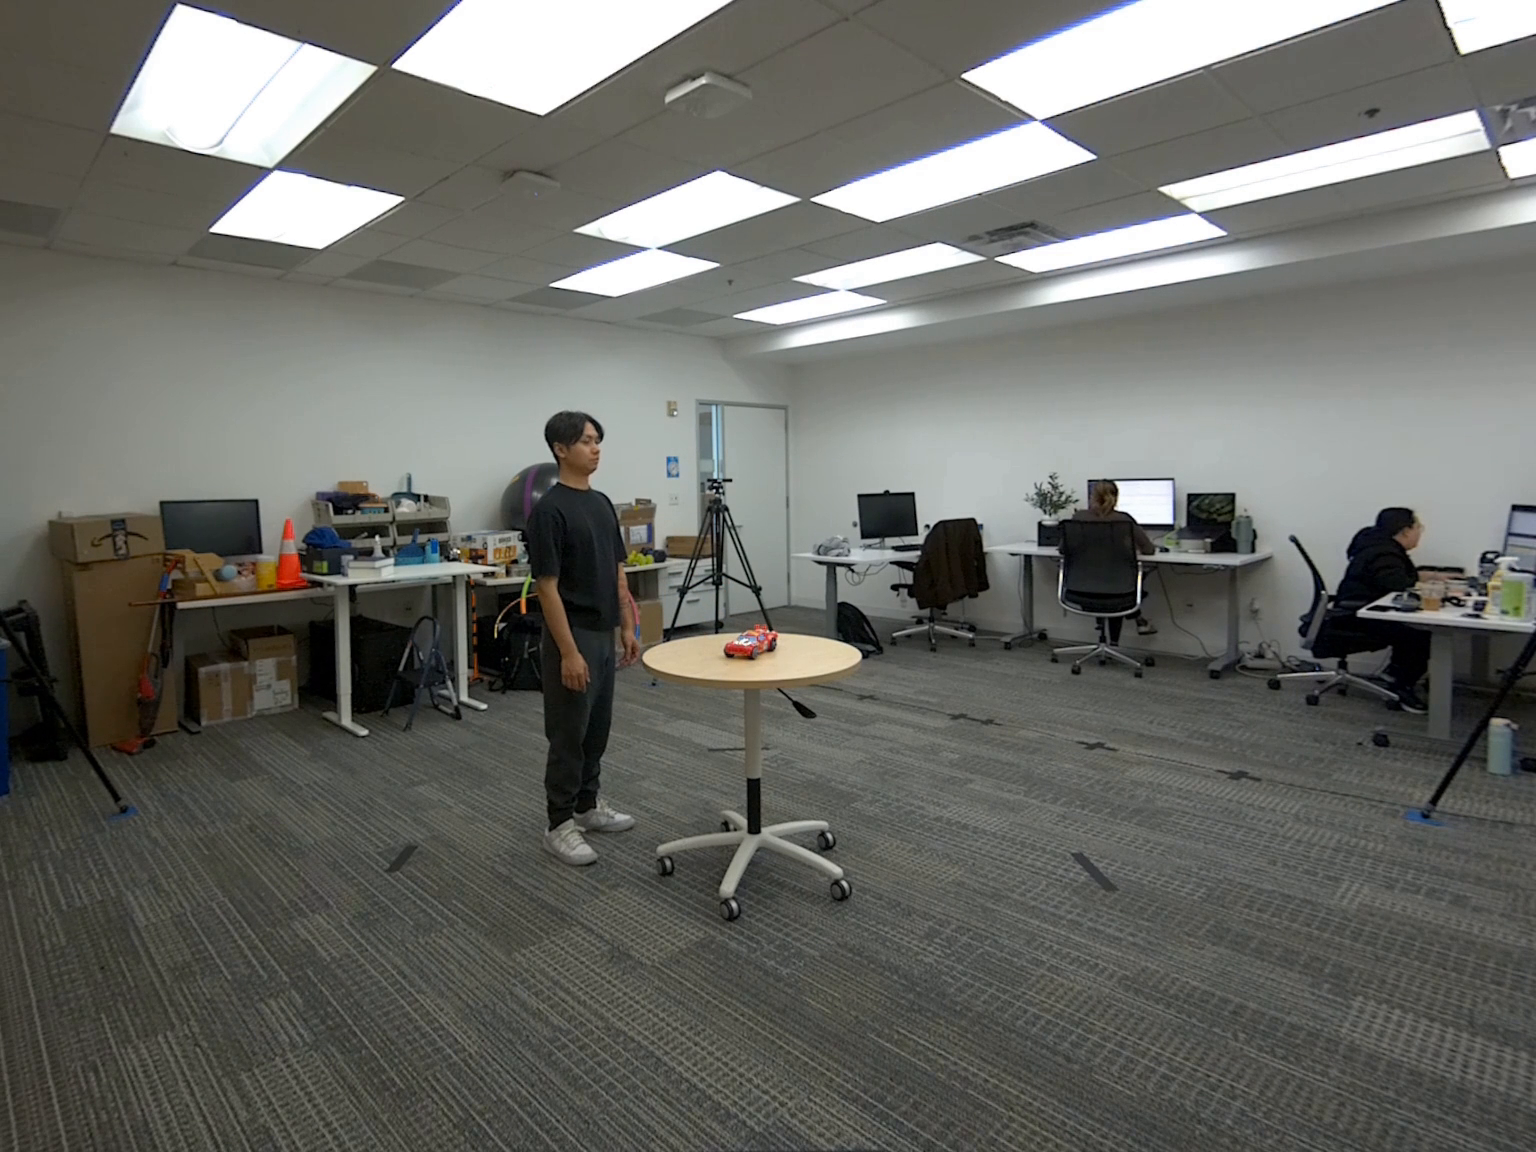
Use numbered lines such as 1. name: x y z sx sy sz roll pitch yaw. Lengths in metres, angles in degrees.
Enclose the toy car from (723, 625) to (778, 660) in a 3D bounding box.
1. toy car: -0.049 0.240 3.010 0.133 0.082 0.252 2 18 27
